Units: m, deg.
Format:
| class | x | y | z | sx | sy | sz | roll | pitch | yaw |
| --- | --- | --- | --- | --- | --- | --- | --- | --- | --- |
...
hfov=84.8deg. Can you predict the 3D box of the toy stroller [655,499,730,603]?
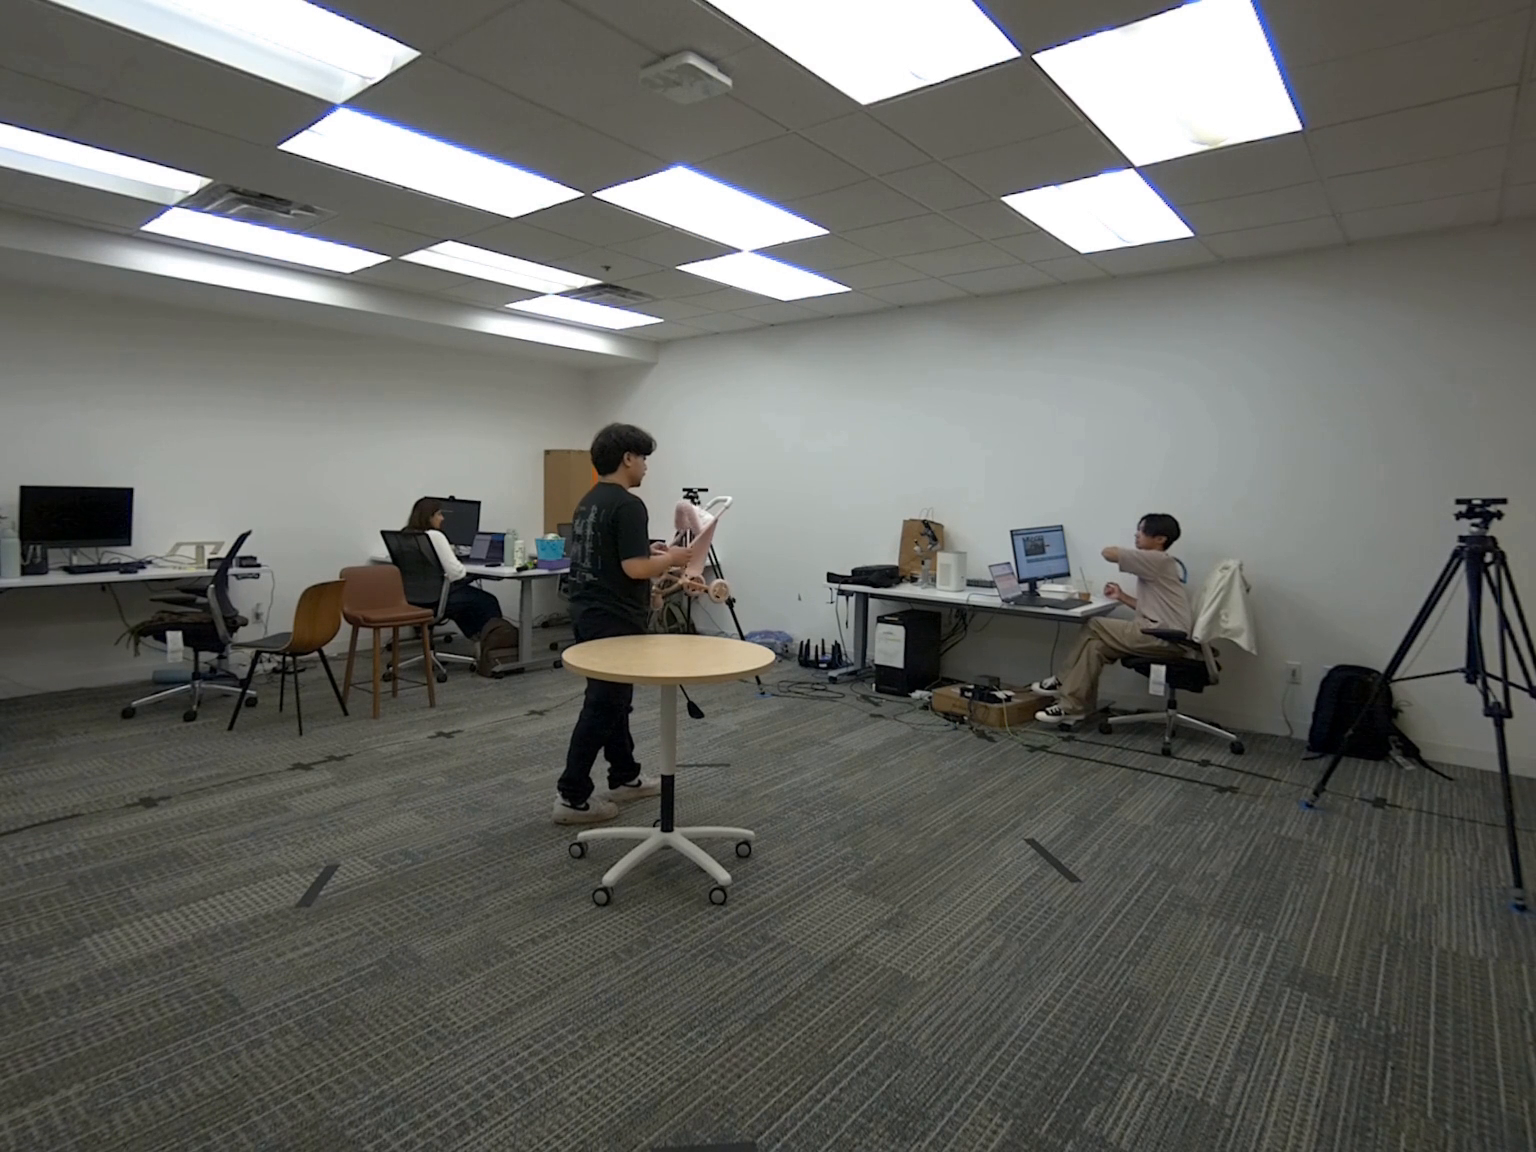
| class | x | y | z | sx | sy | sz | roll | pitch | yaw |
| --- | --- | --- | --- | --- | --- | --- | --- | --- | --- |
| toy stroller | -0.376 | -0.106 | 3.820 | 0.333 | 0.533 | 0.289 | 4 | 4 | -25 |
